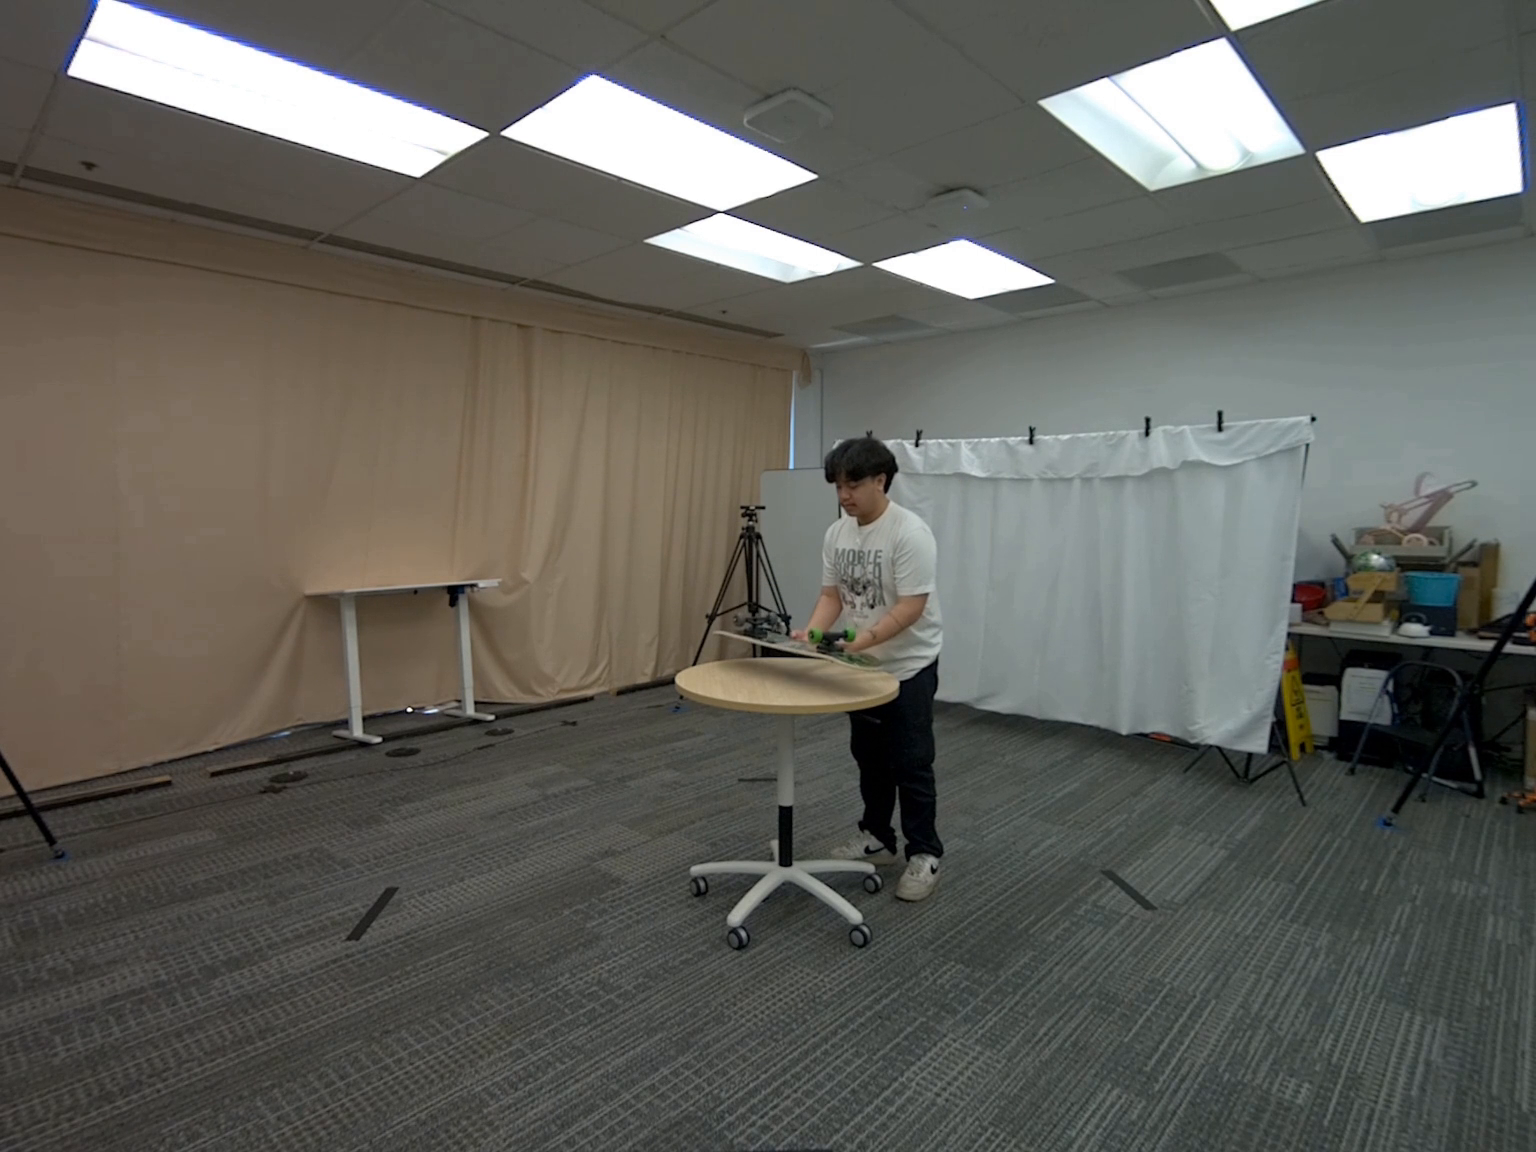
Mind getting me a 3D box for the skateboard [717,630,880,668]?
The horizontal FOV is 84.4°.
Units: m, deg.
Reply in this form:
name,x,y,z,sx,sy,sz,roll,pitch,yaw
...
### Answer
name,x,y,z,sx,sy,sz,roll,pitch,yaw
skateboard,0.084,0.208,2.911,0.188,0.110,0.811,2,5,-35
